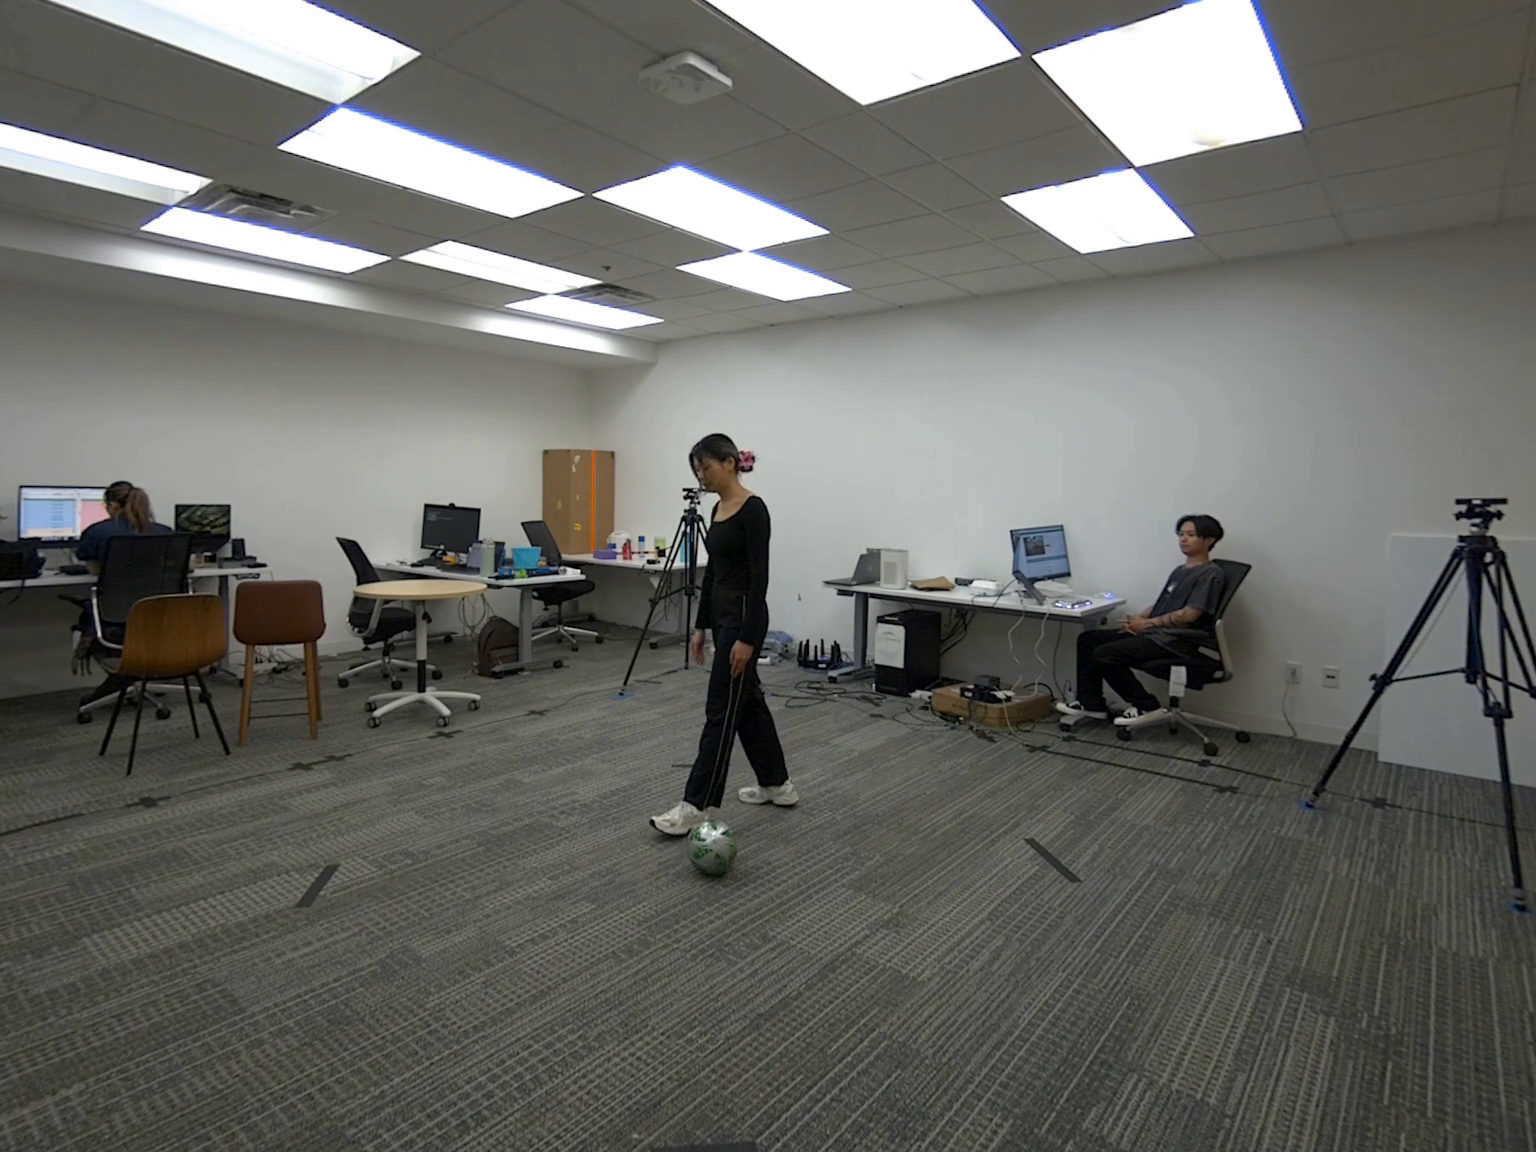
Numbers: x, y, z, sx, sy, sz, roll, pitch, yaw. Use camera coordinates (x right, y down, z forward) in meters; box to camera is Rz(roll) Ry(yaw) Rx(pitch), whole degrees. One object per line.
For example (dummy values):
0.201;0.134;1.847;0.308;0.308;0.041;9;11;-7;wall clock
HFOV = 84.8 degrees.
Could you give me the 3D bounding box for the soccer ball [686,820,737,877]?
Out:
-0.215;0.976;3.082;0.187;0.187;0.188;1;4;-2;soccer ball
